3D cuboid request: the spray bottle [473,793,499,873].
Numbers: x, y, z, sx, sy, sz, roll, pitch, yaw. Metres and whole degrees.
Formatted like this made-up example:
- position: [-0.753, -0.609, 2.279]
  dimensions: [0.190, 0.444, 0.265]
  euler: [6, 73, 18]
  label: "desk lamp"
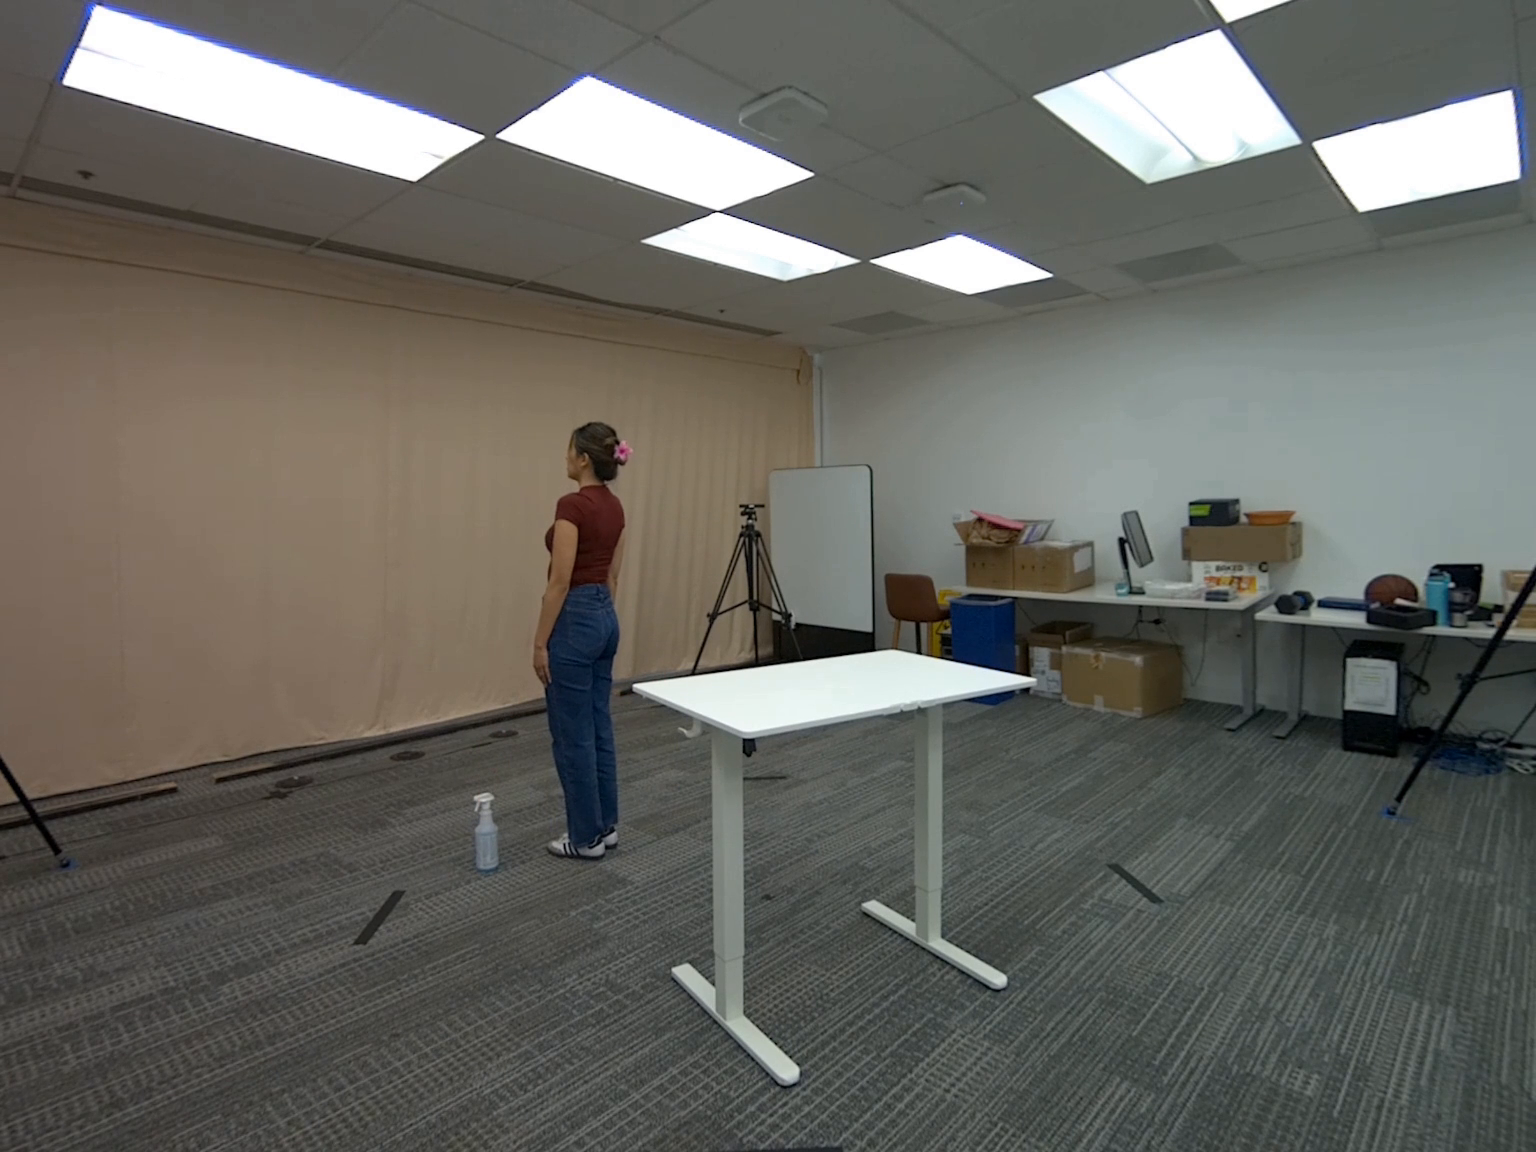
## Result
- position: [-1.096, 0.994, 3.275]
  dimensions: [0.088, 0.297, 0.089]
  euler: [-2, 3, -27]
  label: "spray bottle"
